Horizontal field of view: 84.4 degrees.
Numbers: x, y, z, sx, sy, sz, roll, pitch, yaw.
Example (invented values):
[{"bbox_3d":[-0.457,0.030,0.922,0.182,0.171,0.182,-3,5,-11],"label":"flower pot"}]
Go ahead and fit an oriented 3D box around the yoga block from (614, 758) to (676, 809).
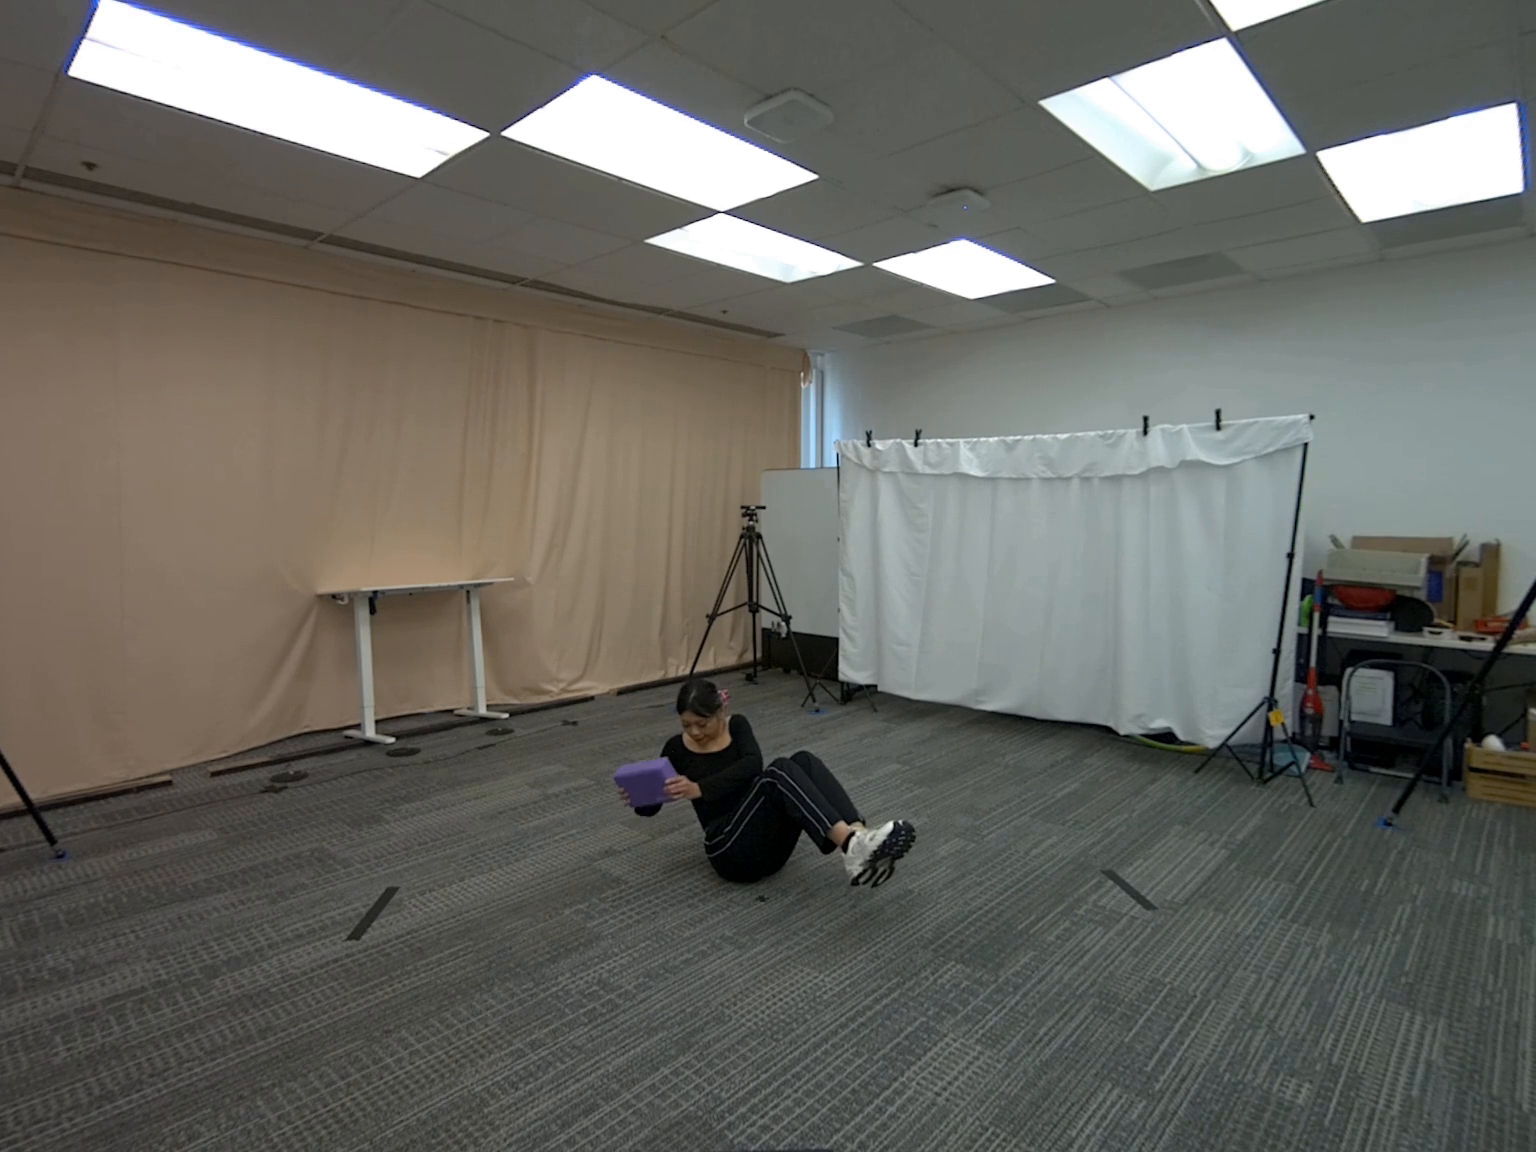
[{"bbox_3d":[-0.430,0.753,3.071,0.234,0.147,0.076,-15,16,26],"label":"yoga block"}]
